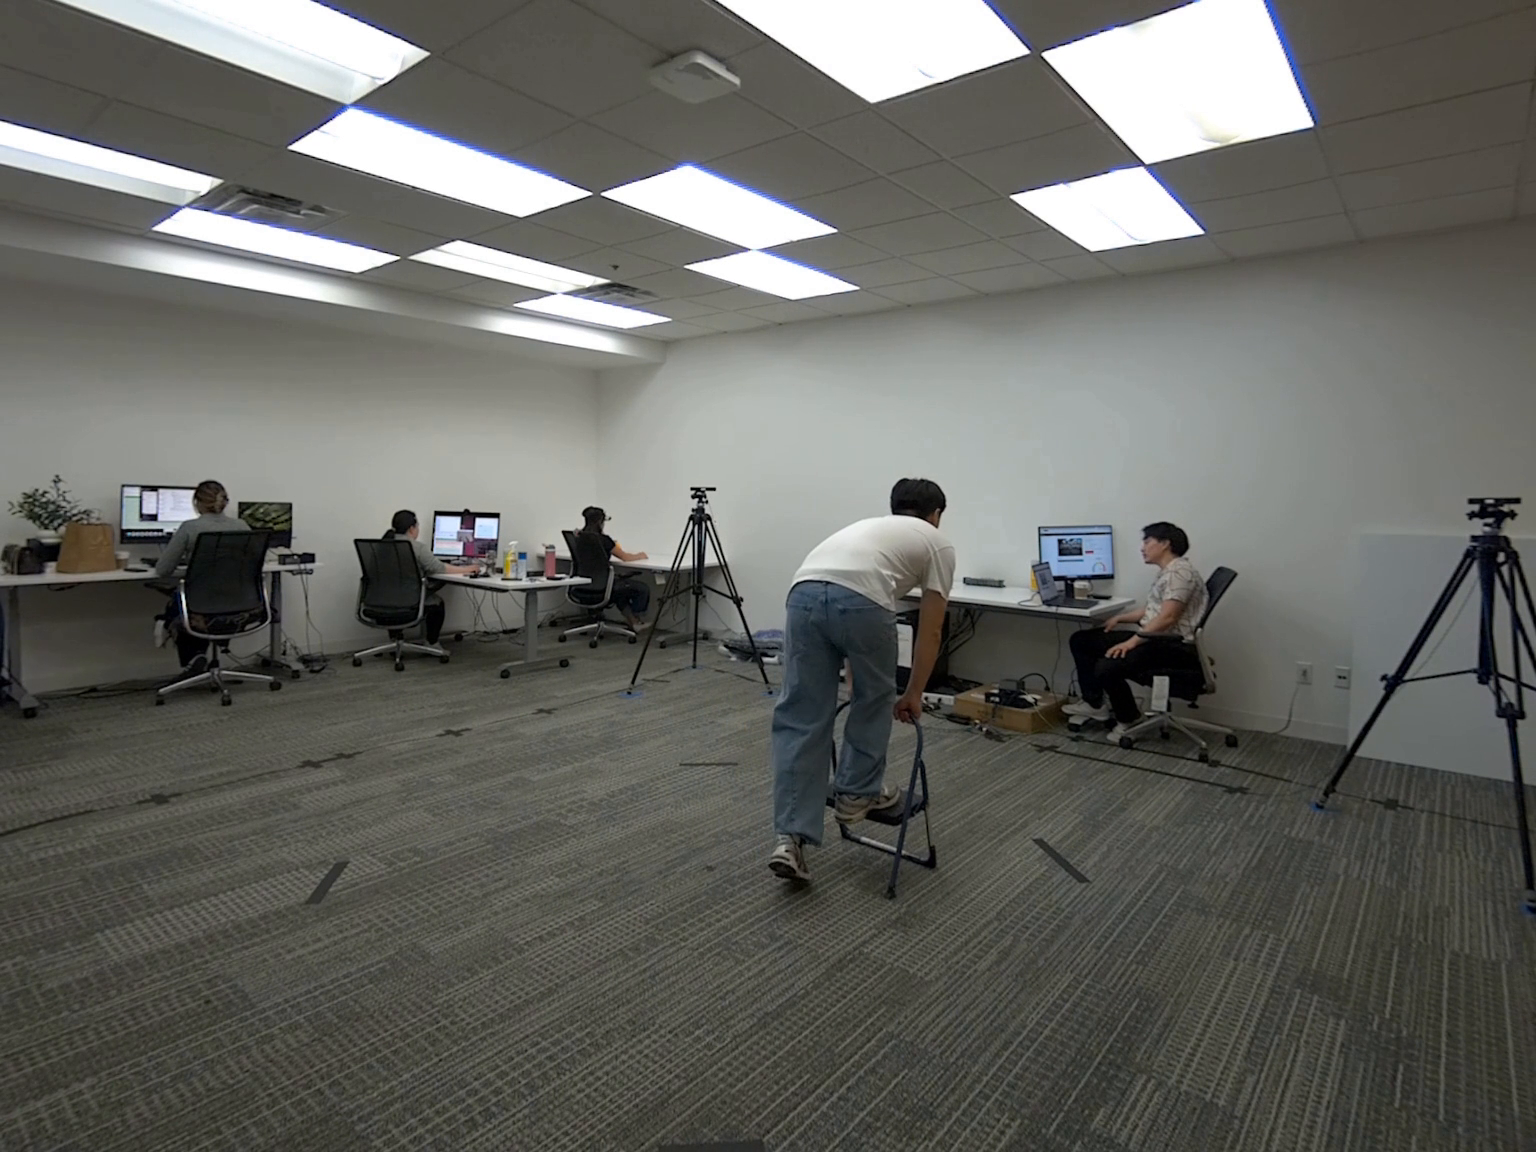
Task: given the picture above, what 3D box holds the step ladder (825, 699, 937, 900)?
[{"bbox_3d":[0.365,0.769,3.161,0.445,0.604,0.339,5,5,39],"label":"step ladder"}]
